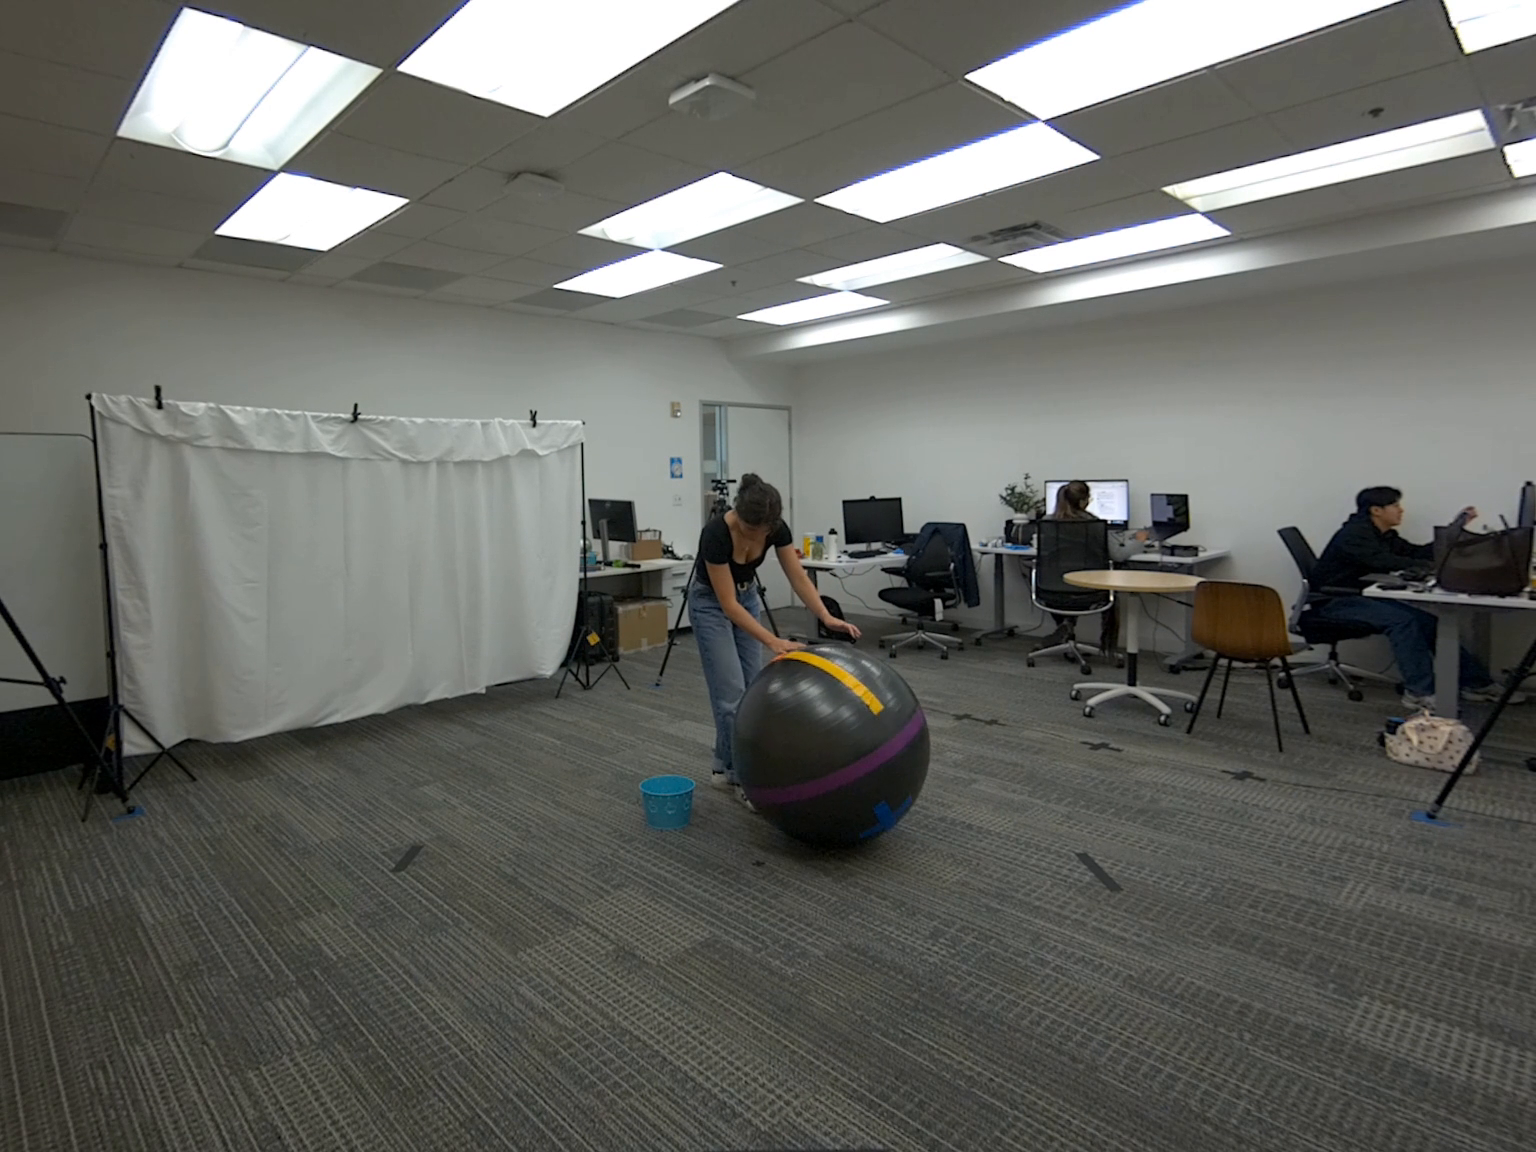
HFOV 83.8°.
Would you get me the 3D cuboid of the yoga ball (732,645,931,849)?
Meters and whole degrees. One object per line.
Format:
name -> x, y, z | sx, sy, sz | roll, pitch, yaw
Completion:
yoga ball -> 0.235, 0.651, 3.294 | 0.757, 0.755, 0.762 | -1, 5, -2
